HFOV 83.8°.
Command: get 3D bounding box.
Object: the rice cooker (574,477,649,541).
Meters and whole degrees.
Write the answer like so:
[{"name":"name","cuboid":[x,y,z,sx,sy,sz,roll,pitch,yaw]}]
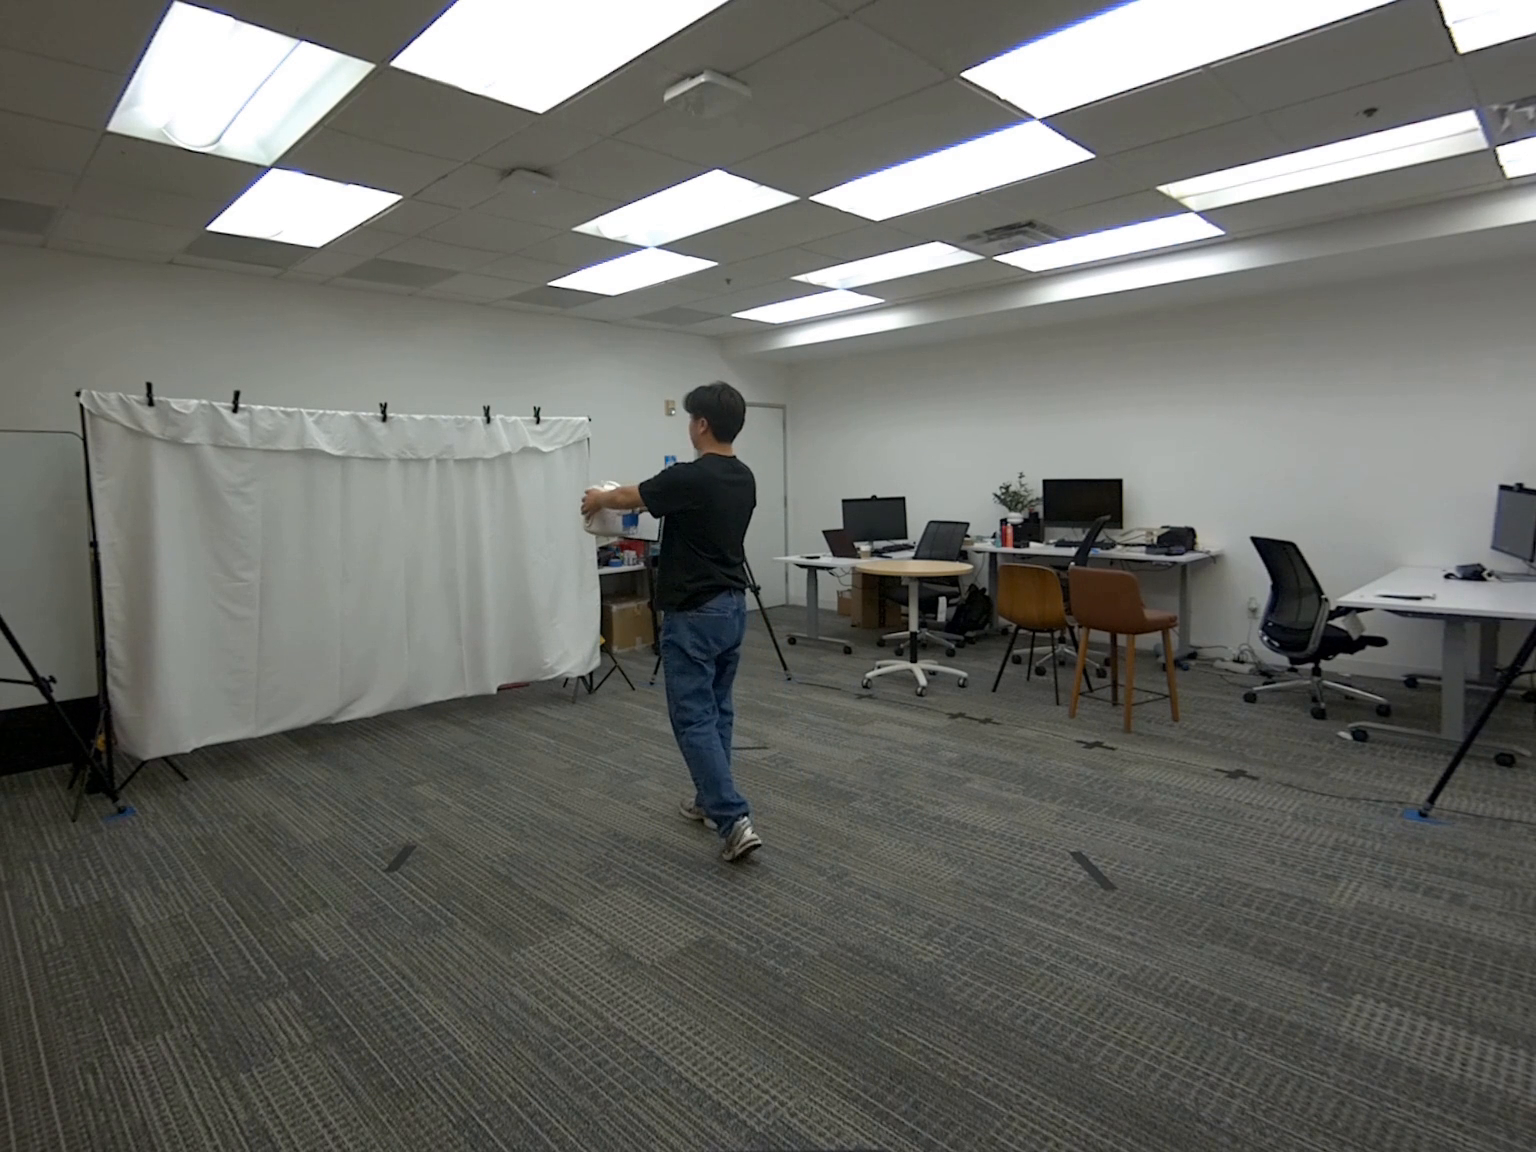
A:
[{"name":"rice cooker","cuboid":[-0.672,-0.294,3.692,0.228,0.231,0.211,14,11,39]}]
